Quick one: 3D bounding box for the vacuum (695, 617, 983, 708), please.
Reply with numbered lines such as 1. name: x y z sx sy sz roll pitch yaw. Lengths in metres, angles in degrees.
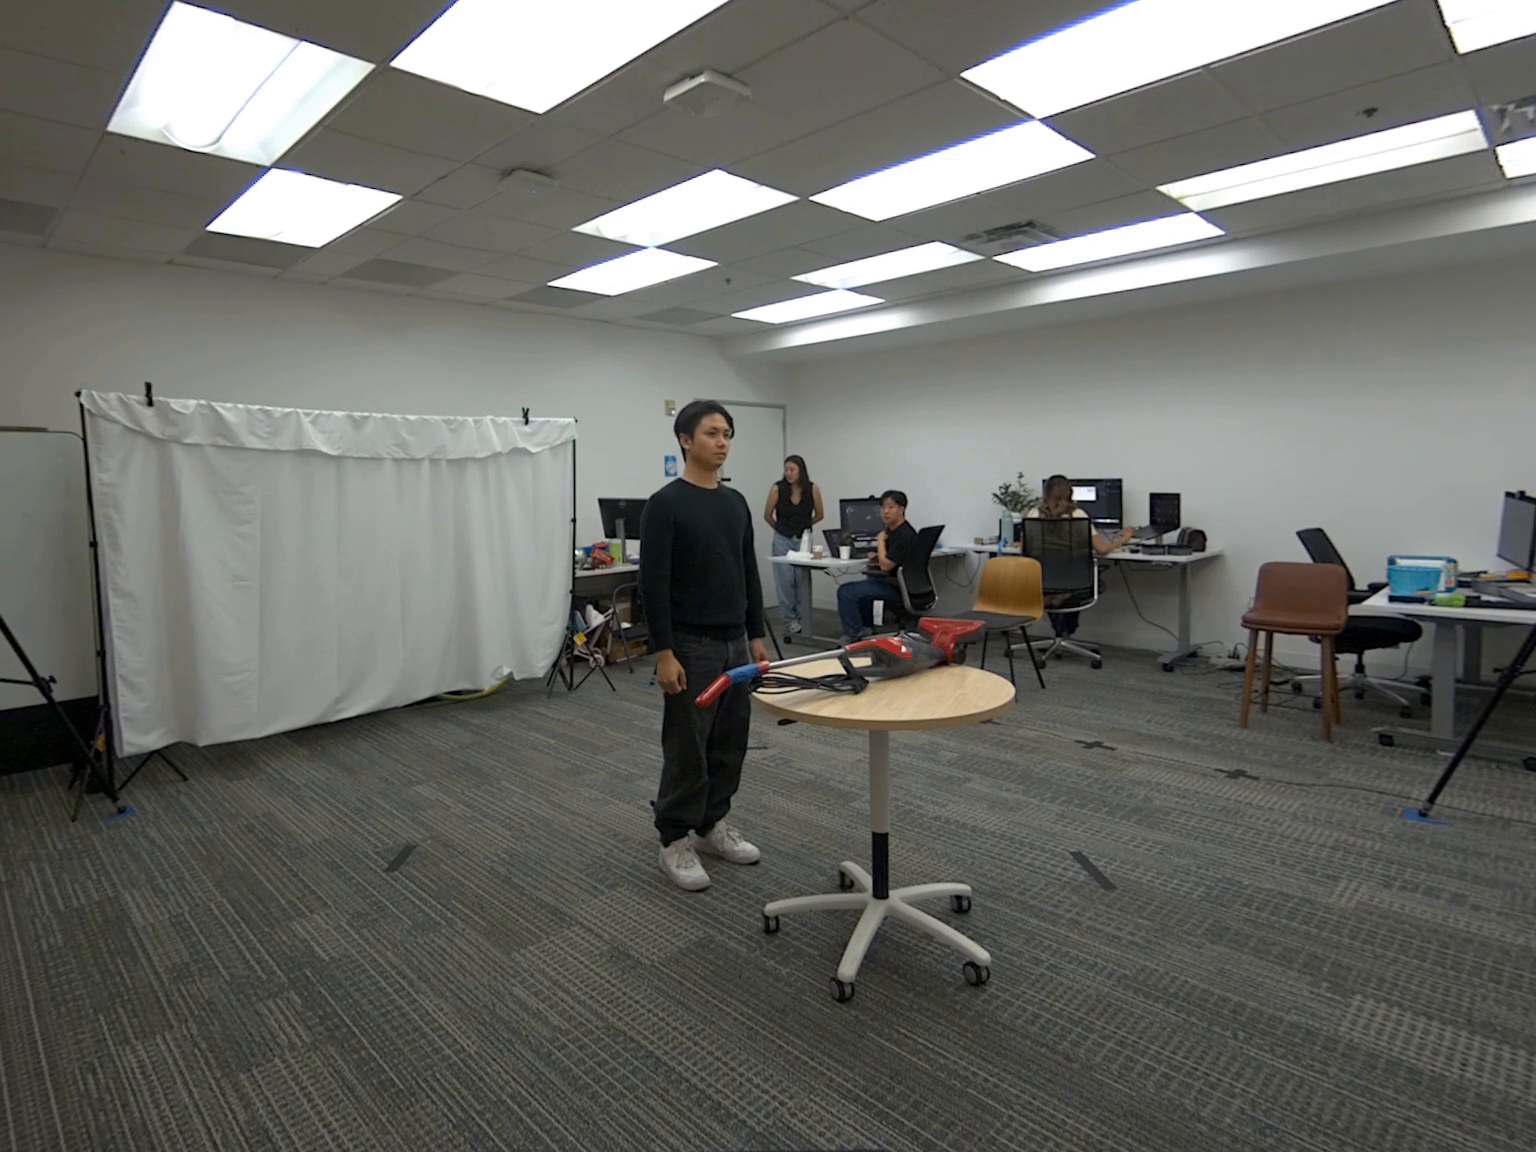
1. vacuum: 0.208 0.276 2.454 1.022 0.144 0.259 -6 2 -38
